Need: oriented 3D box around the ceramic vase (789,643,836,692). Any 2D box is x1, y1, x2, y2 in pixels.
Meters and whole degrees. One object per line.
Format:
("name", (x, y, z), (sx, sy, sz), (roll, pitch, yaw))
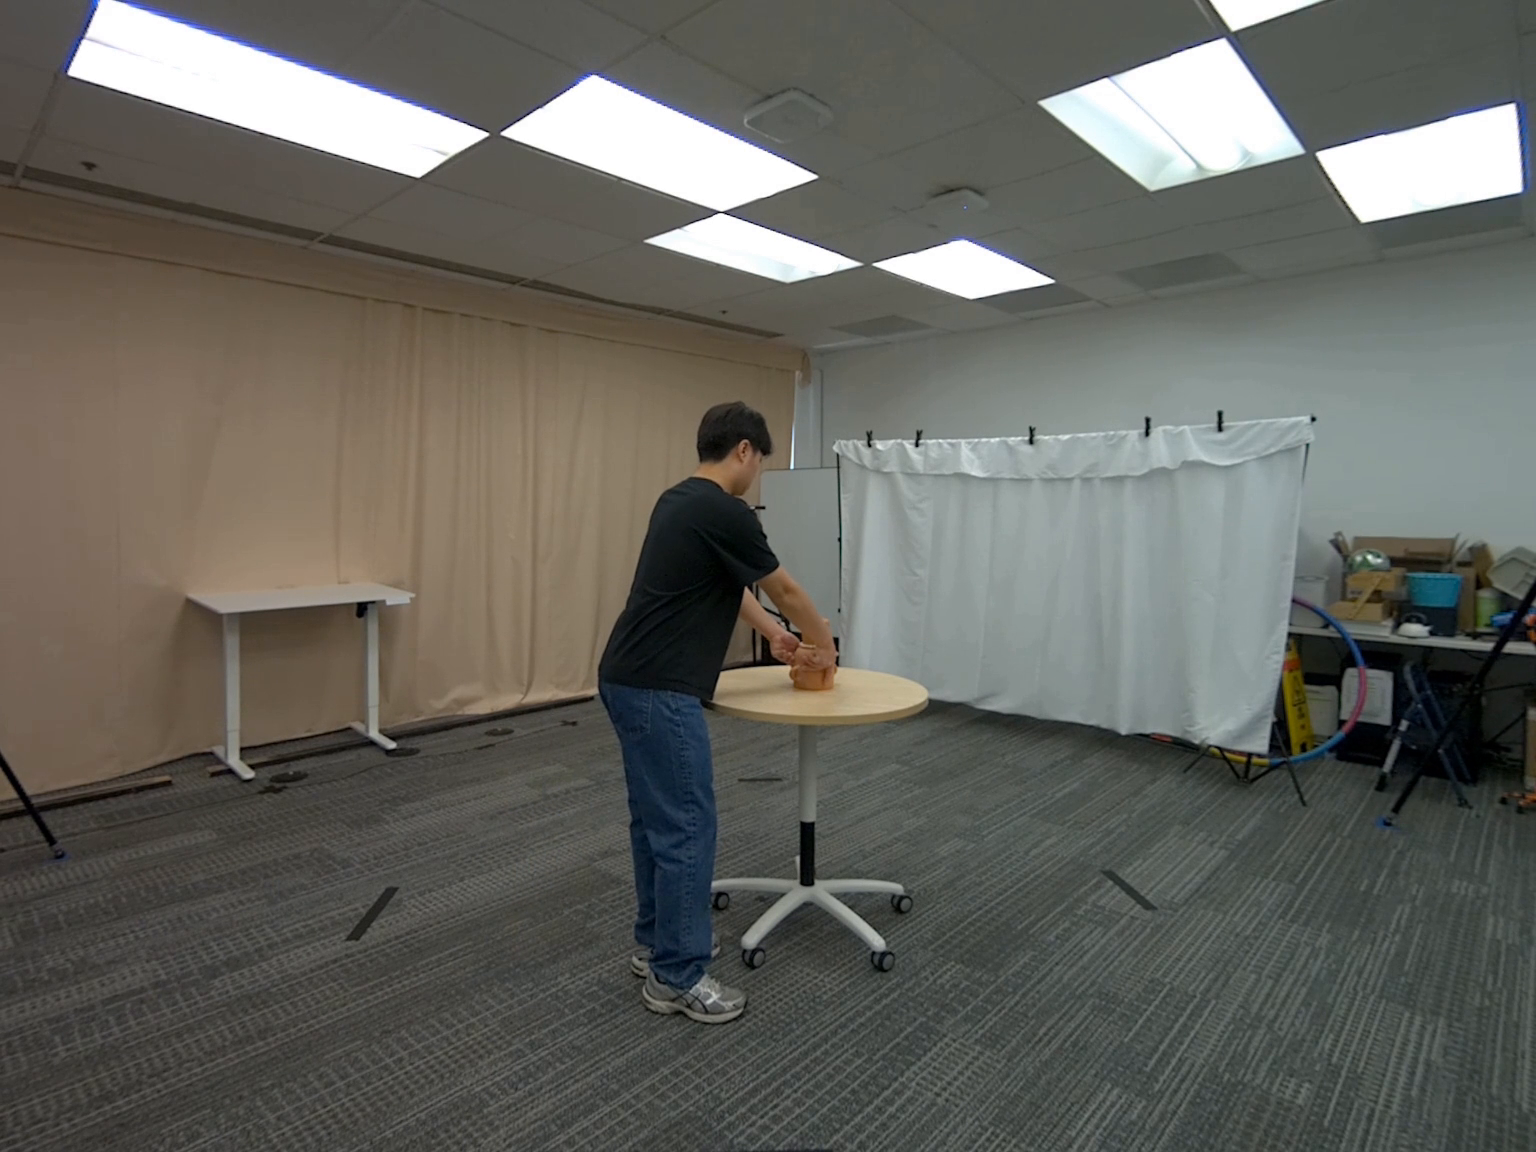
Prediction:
("ceramic vase", (0.160, 0.256, 2.761), (0.137, 0.219, 0.156), (2, 6, 16))
